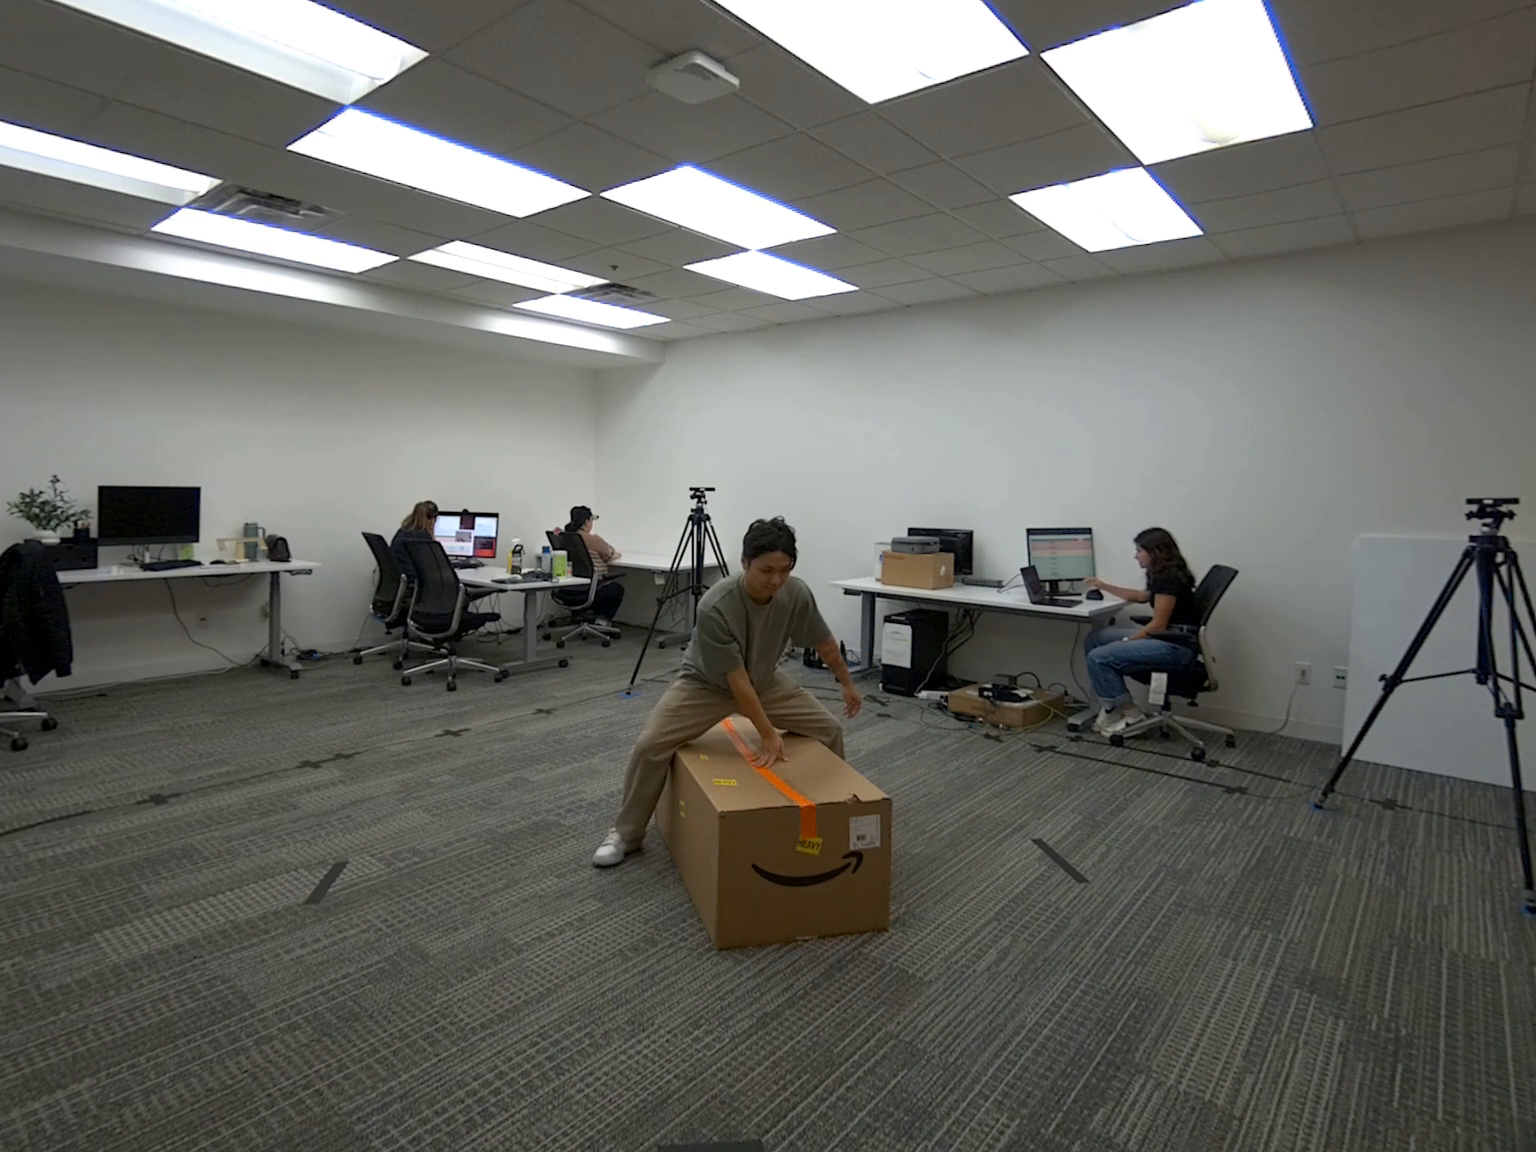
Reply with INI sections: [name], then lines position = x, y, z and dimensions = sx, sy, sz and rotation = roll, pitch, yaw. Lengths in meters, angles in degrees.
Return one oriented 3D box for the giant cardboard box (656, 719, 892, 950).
[giant cardboard box]
position = -0.041, 0.860, 3.101
dimensions = 0.568, 0.424, 1.047
rotation = -1, 5, -17
